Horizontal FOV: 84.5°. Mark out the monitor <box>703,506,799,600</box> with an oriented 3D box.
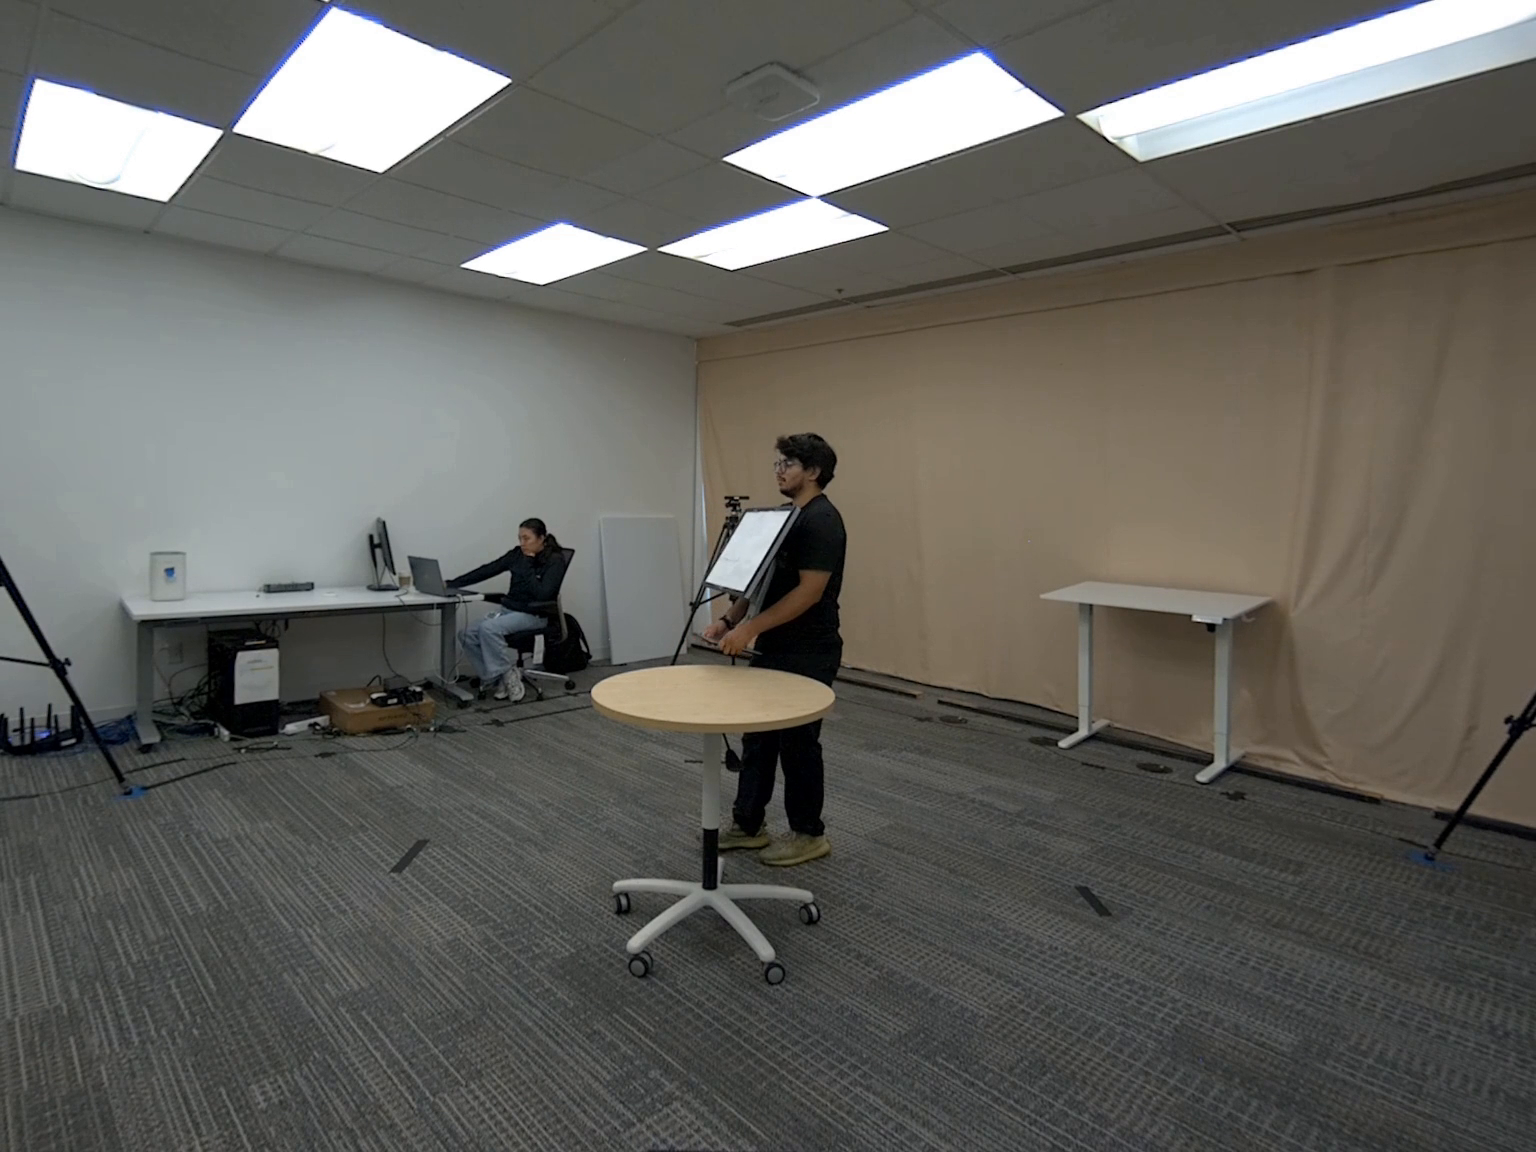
[{"bbox_3d":[-0.058,0.018,3.143,0.206,0.555,0.574,26,-6,-19],"label":"monitor"}]
